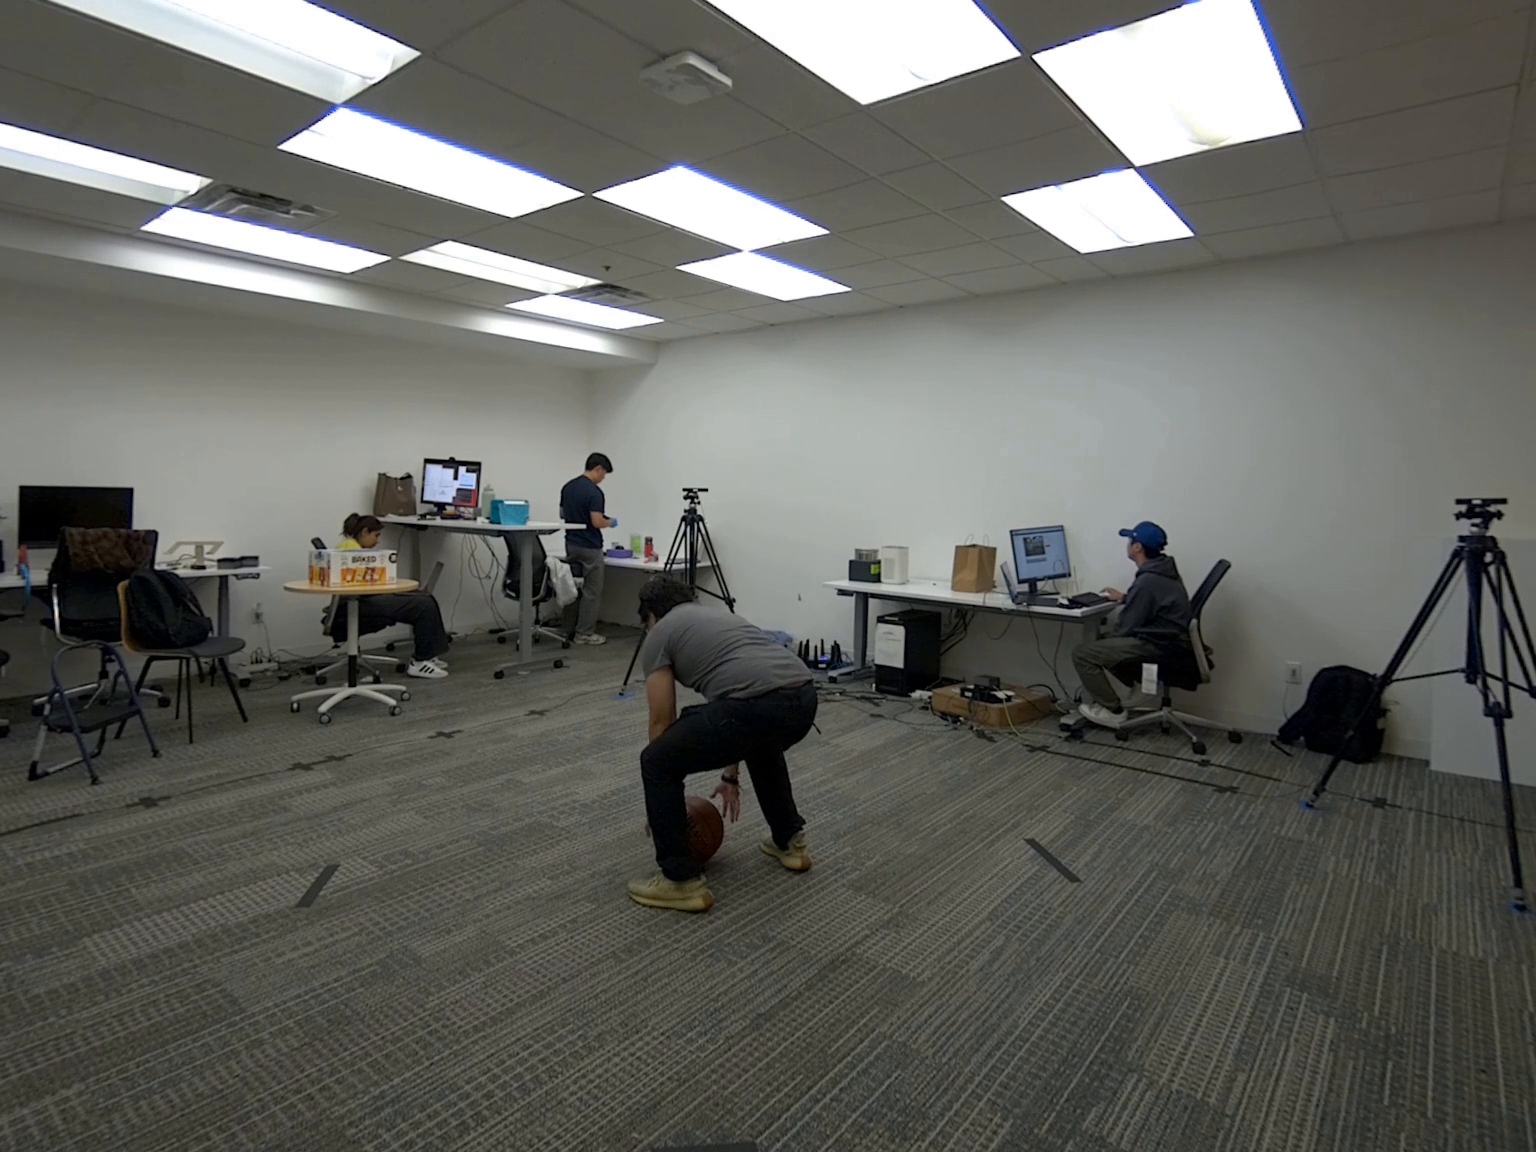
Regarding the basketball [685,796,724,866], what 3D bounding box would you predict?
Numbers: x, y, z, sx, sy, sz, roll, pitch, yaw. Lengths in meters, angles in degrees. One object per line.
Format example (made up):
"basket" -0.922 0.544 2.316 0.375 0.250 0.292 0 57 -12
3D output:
"basketball" -0.291 0.940 3.171 0.235 0.235 0.237 1 4 -2
